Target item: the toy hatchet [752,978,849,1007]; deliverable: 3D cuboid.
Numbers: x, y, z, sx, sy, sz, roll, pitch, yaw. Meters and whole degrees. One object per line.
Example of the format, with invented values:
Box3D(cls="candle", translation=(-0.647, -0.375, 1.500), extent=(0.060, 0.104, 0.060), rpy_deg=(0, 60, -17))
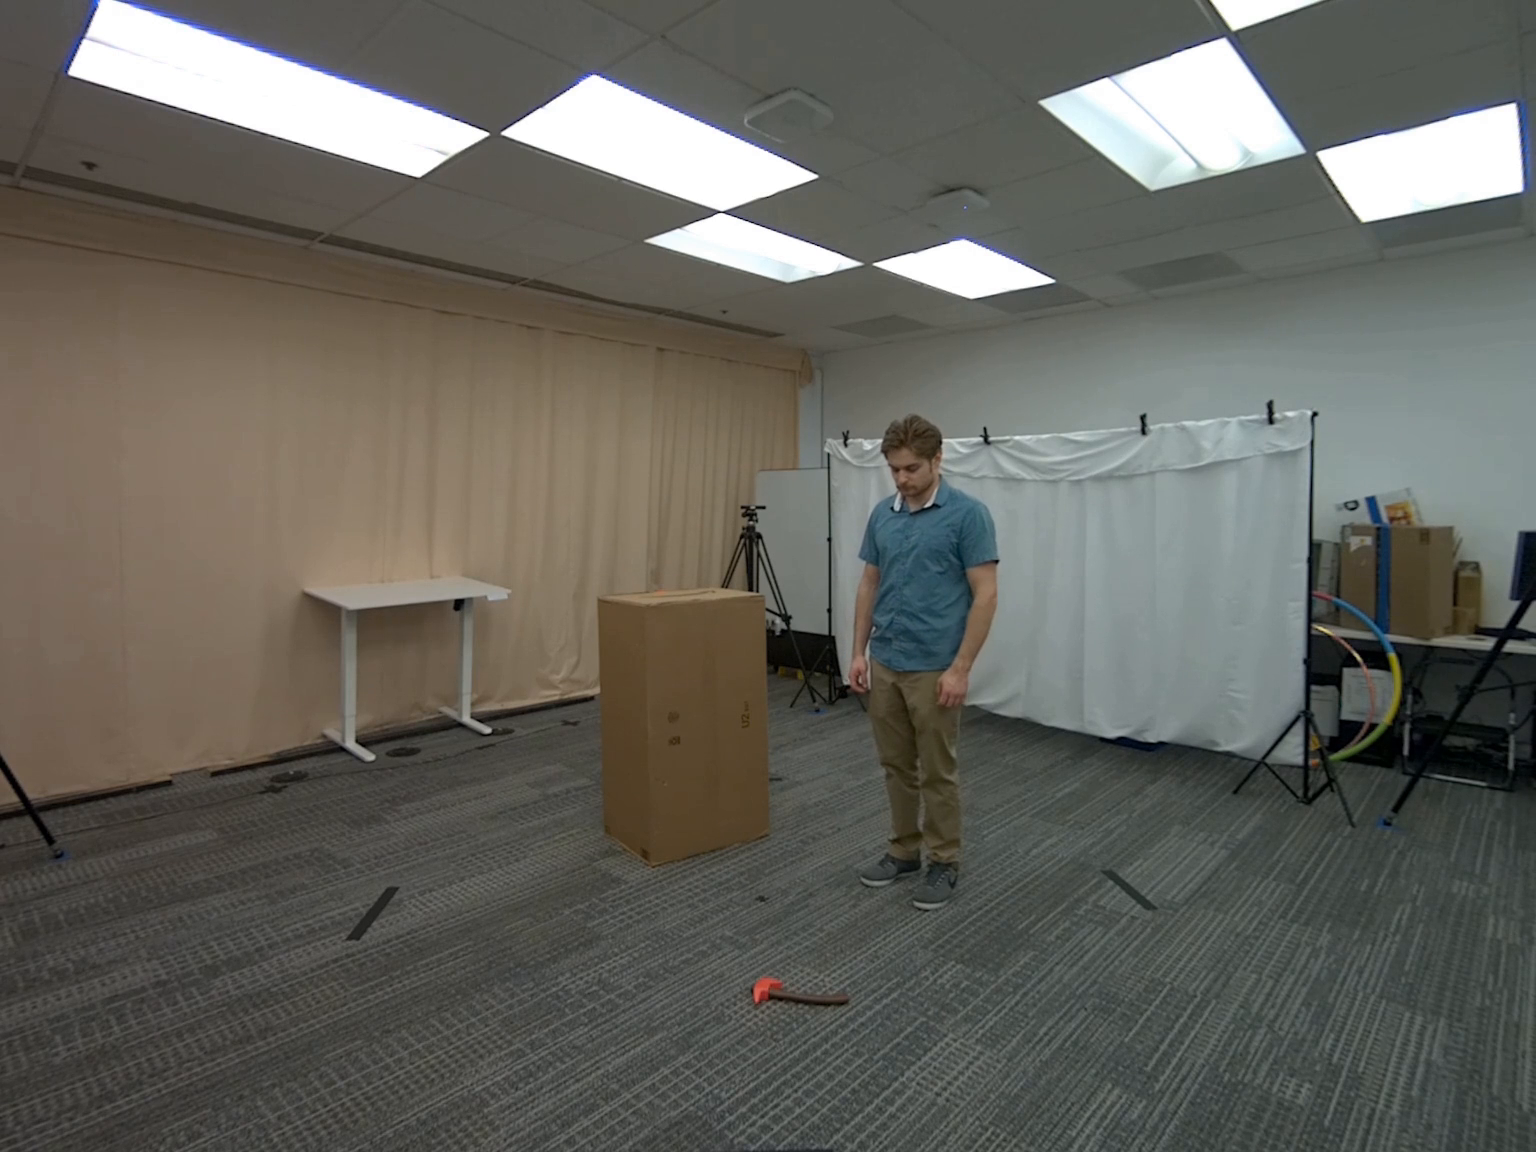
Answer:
Box3D(cls="toy hatchet", translation=(0.093, 1.183, 2.393), extent=(0.269, 0.029, 0.132), rpy_deg=(2, 0, -5))
